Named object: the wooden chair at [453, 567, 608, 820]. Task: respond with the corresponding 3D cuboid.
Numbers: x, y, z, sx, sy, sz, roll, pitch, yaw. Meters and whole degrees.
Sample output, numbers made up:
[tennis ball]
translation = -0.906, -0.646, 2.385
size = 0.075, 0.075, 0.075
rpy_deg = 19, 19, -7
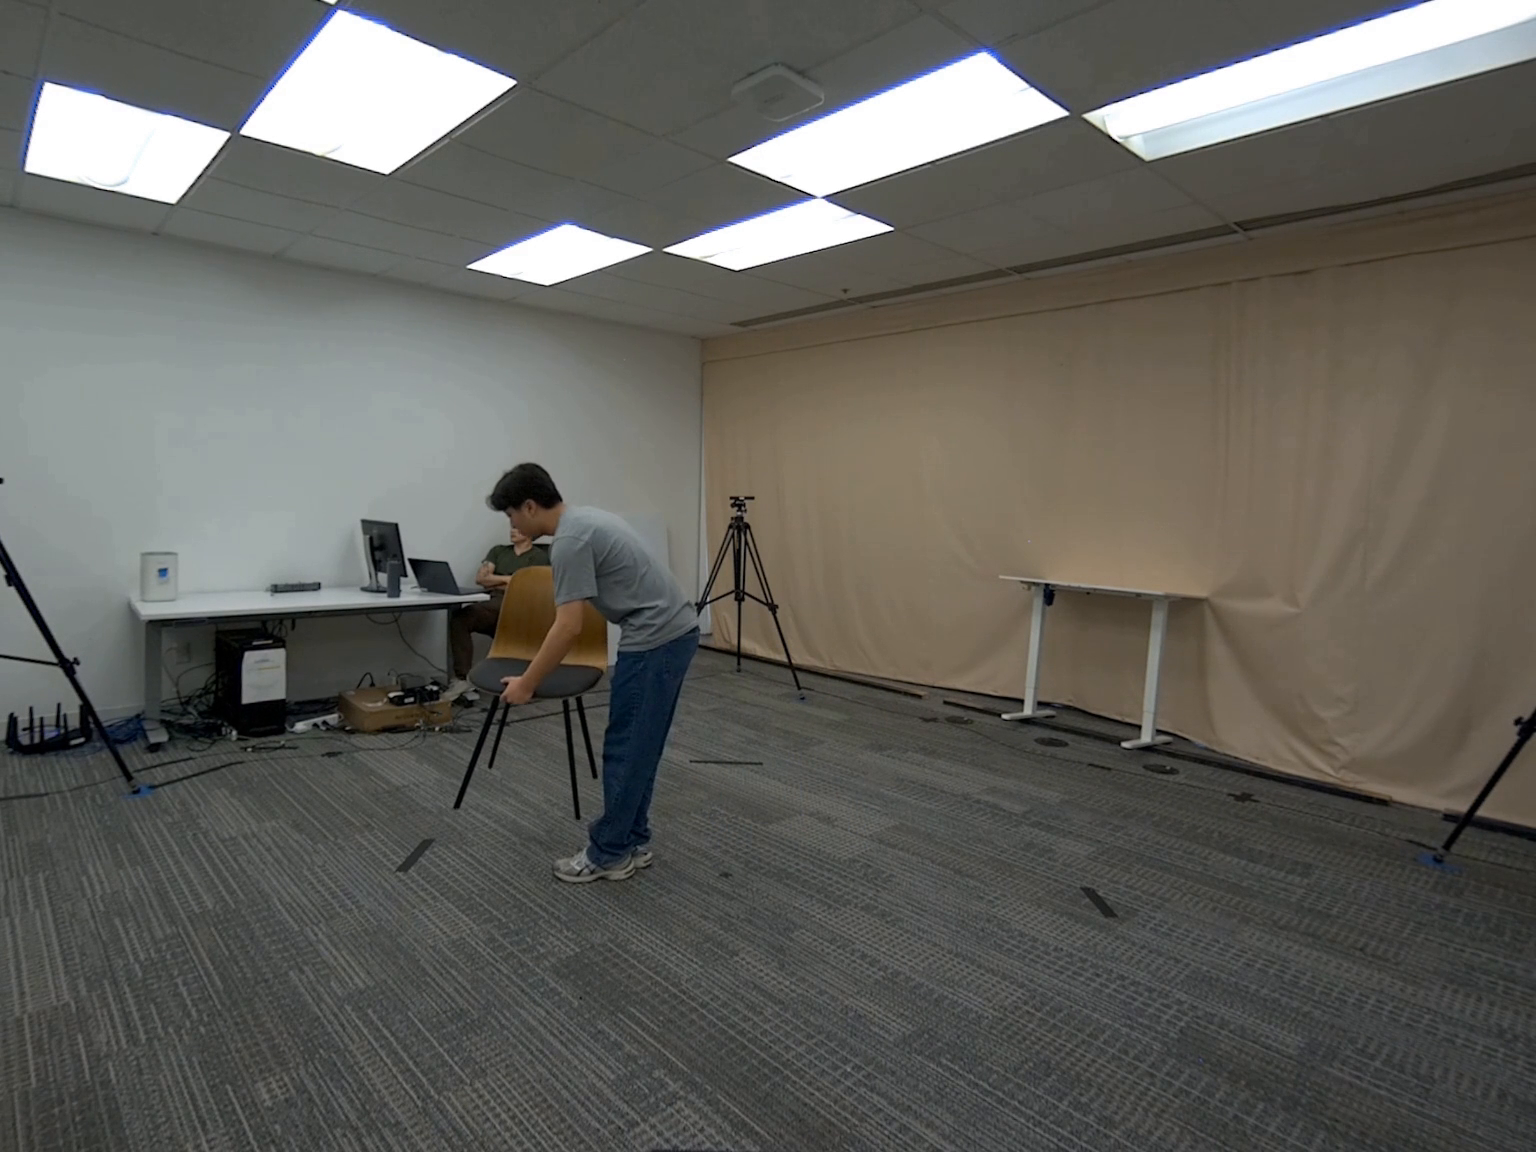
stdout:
[wooden chair]
translation = -0.868, 0.409, 3.184
size = 0.477, 0.877, 0.525
rpy_deg = 5, 0, -4
